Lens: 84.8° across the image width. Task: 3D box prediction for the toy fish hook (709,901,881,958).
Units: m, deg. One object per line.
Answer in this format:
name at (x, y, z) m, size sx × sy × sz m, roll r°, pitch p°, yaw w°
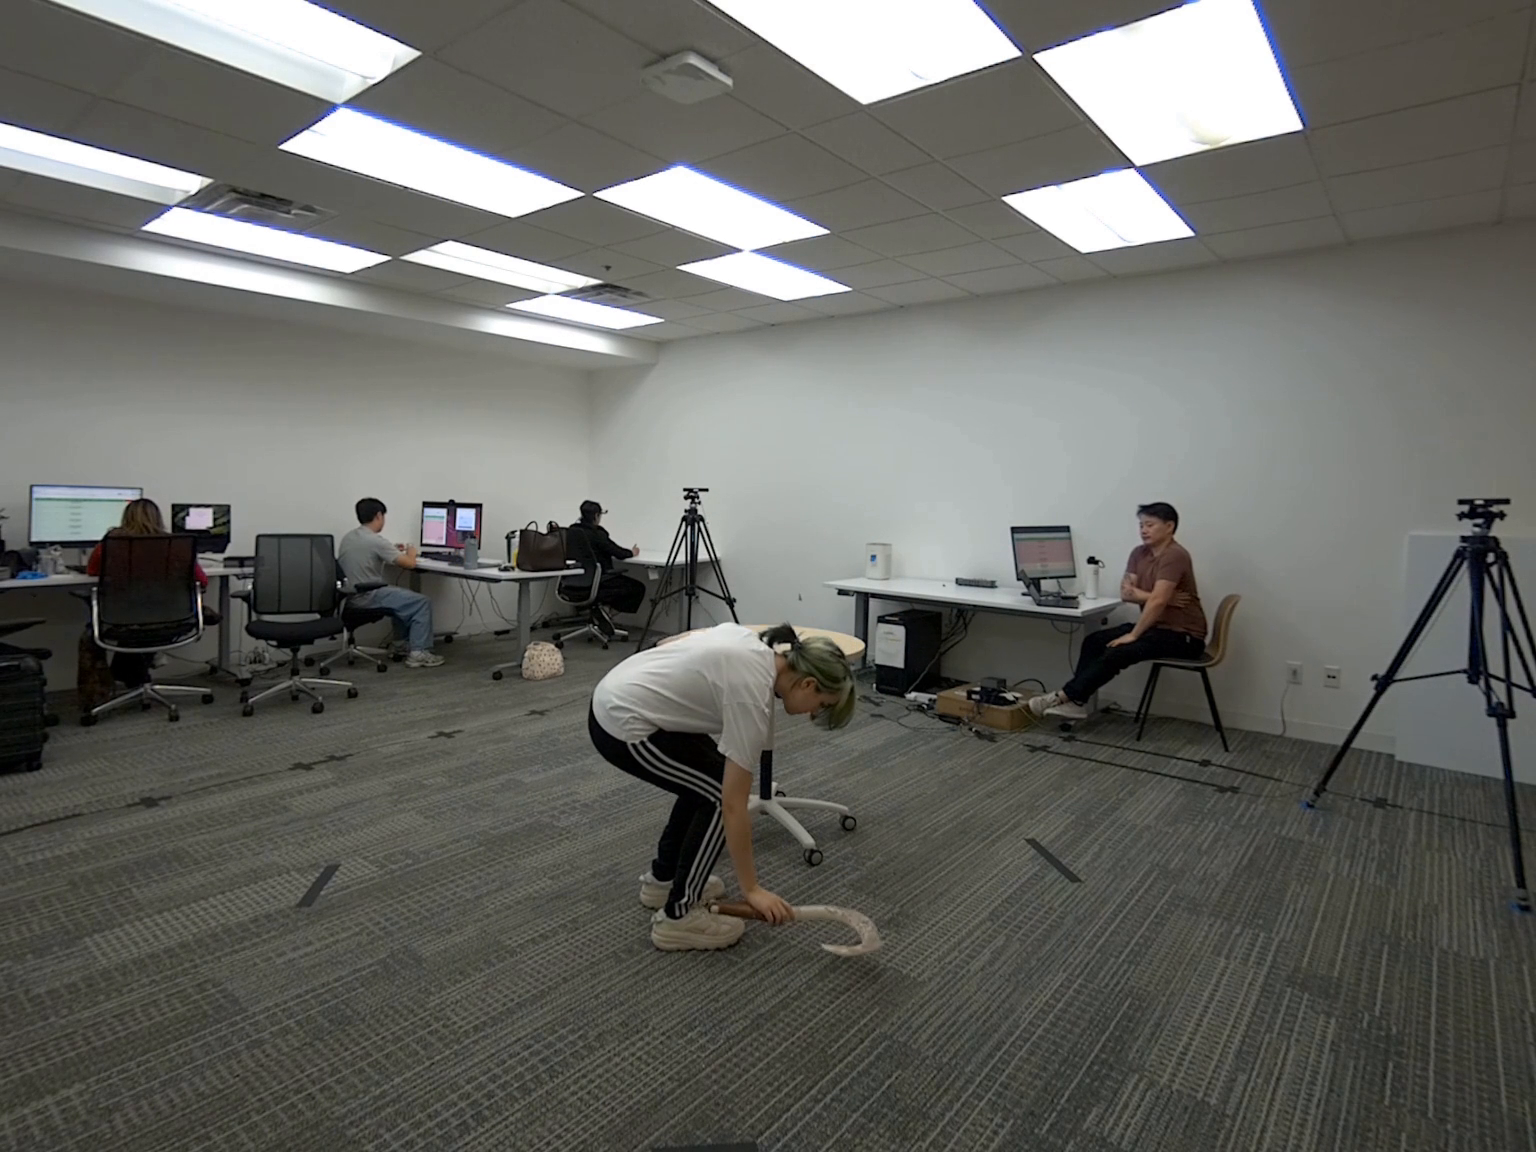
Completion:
toy fish hook at (0.079, 1.010, 2.444) m, size 0.502 × 0.048 × 0.228 m, roll 7°, pitch 6°, yaw -8°
